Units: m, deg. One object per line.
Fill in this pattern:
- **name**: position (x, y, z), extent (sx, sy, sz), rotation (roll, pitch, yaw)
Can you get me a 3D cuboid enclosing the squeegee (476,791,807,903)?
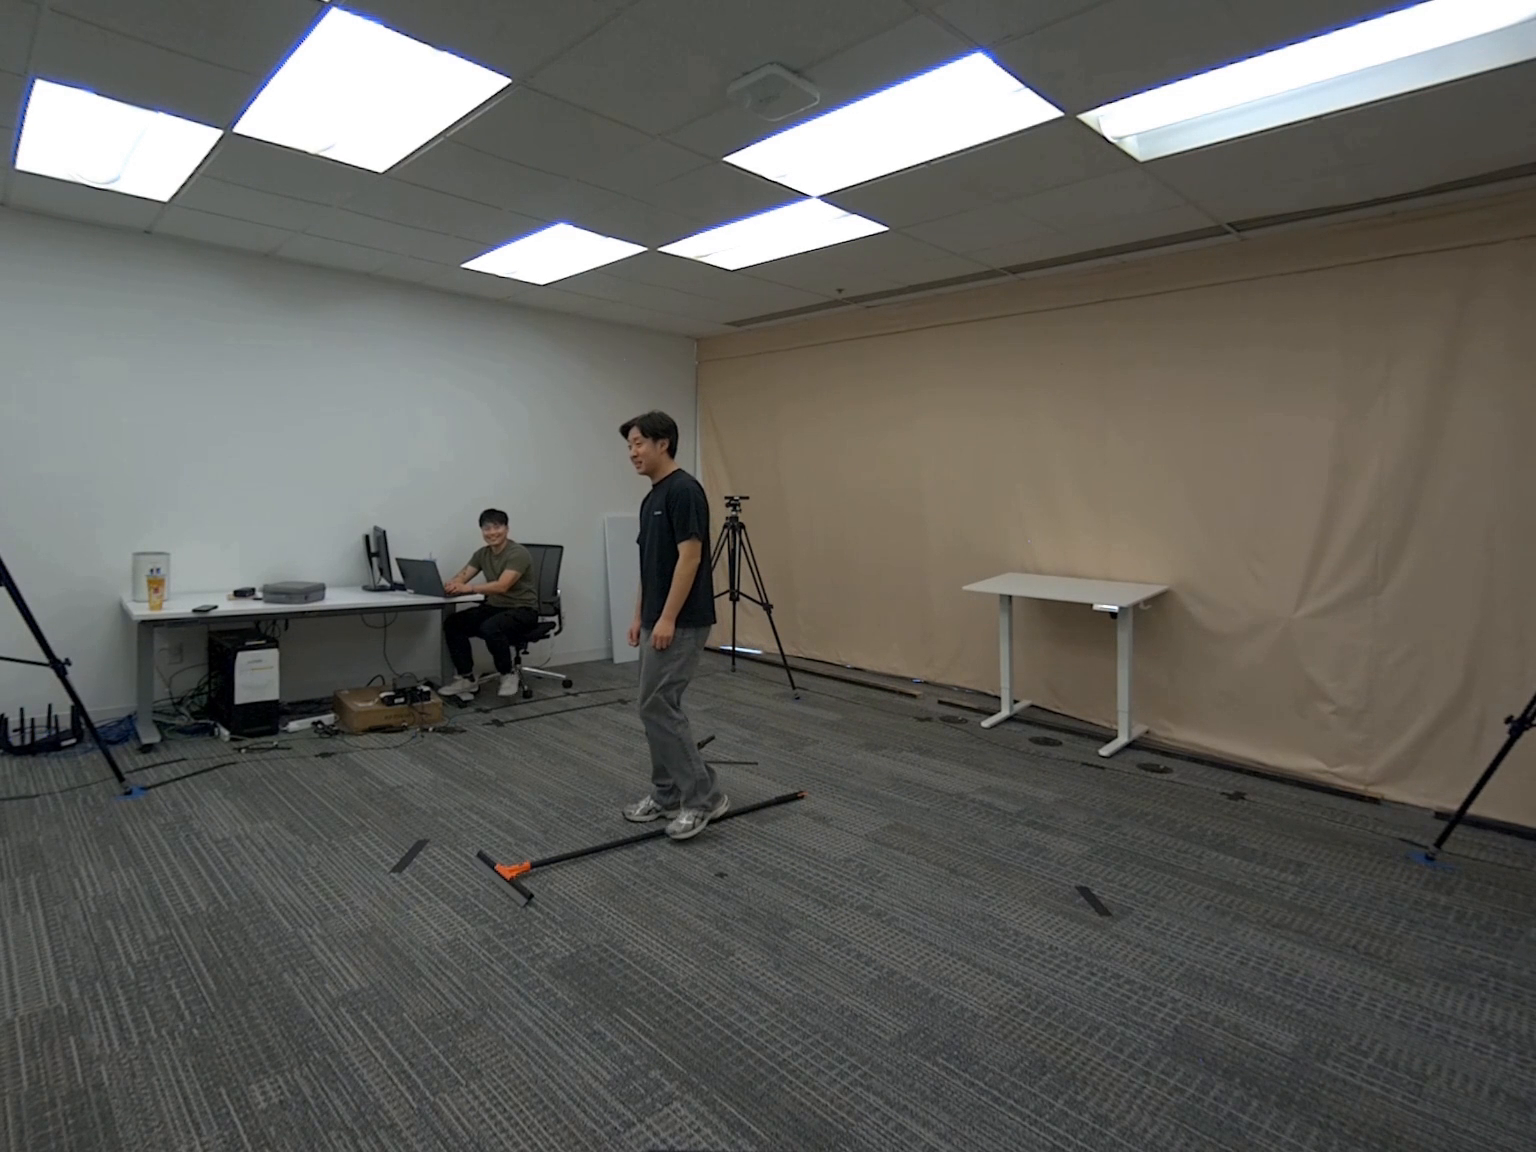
- **squeegee**: position (-0.405, 1.031, 3.472), extent (1.502, 0.053, 0.449), rotation (-2, 7, -40)
